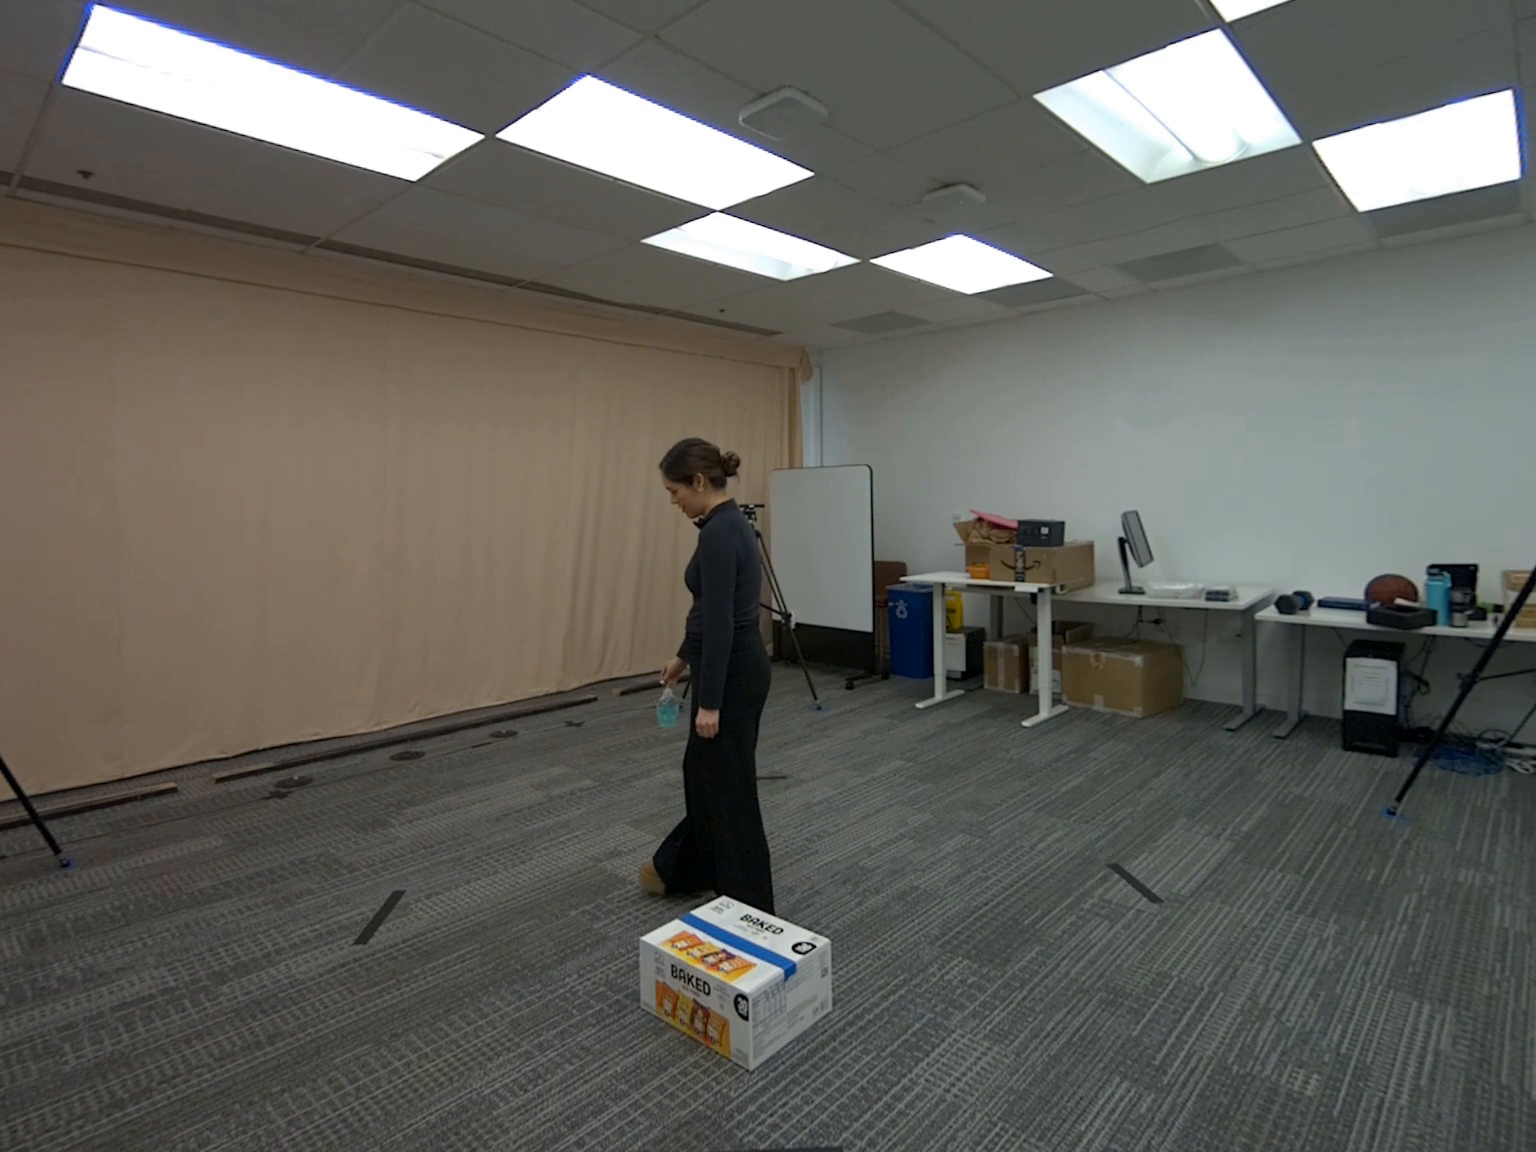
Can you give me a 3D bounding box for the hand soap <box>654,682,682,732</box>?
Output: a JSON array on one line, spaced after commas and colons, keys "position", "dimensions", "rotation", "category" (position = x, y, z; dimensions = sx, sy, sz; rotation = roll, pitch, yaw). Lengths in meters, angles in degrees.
[{"position": [-0.361, 0.466, 3.046], "dimensions": [0.083, 0.168, 0.044], "rotation": [1, 5, -18], "category": "hand soap"}]
